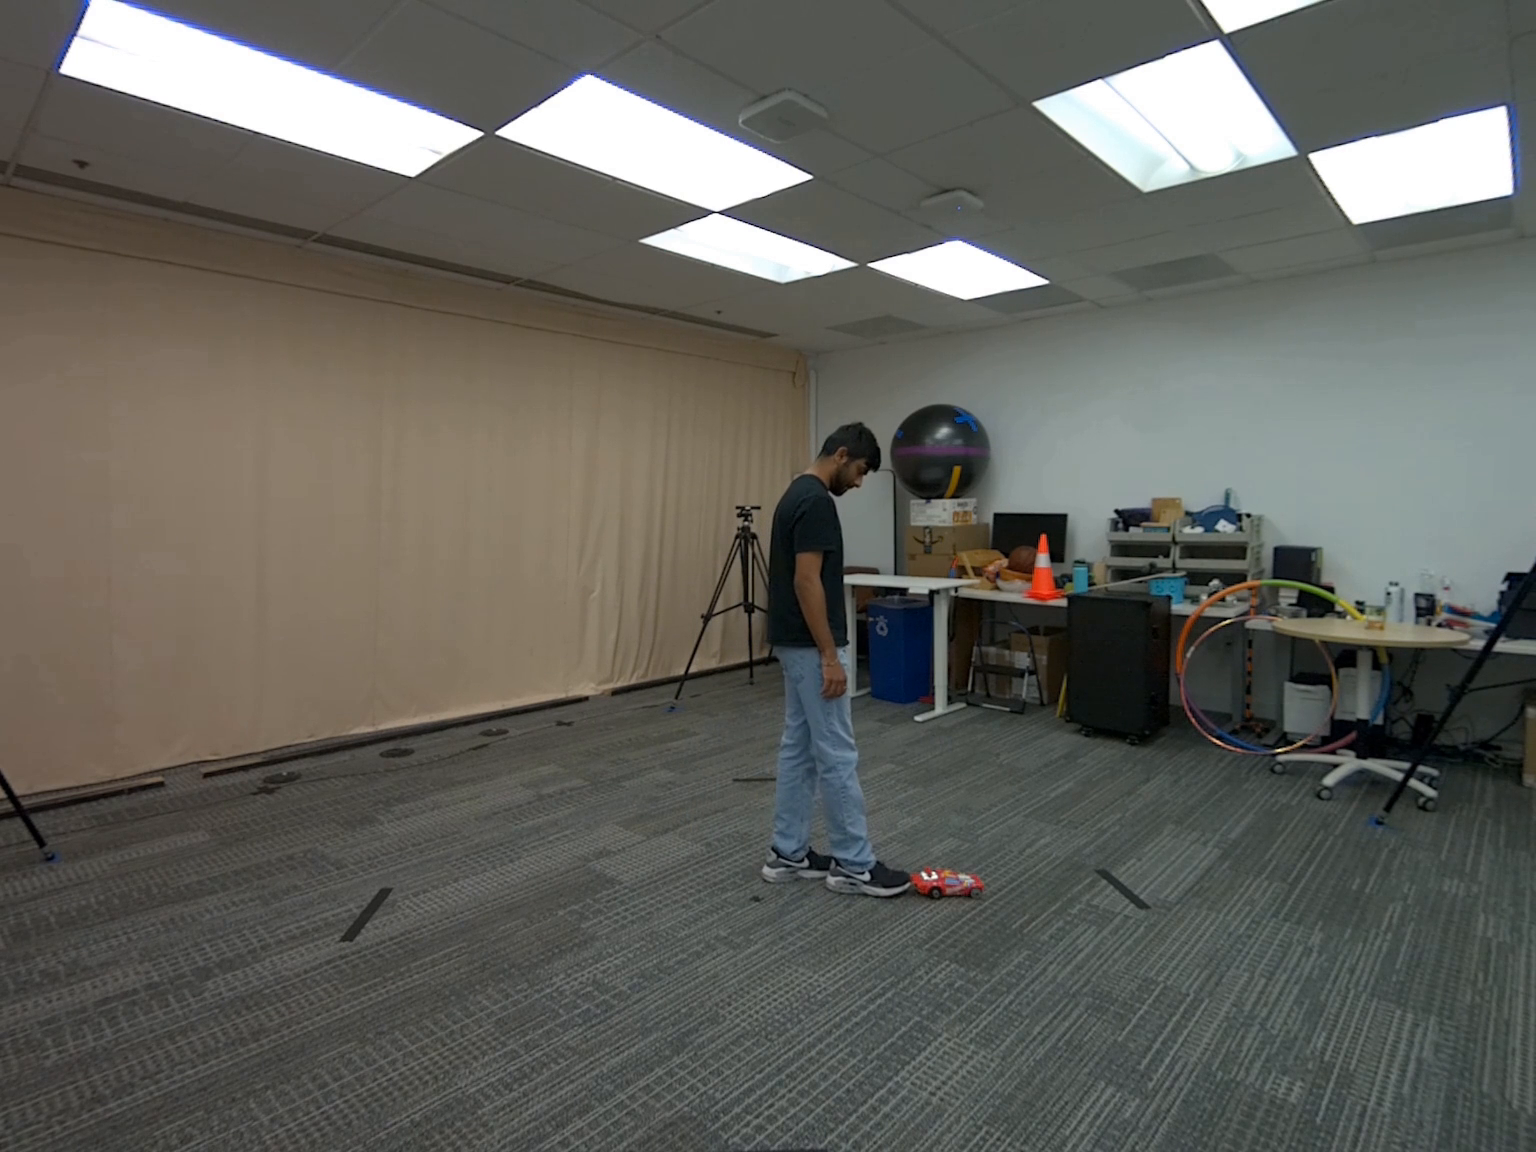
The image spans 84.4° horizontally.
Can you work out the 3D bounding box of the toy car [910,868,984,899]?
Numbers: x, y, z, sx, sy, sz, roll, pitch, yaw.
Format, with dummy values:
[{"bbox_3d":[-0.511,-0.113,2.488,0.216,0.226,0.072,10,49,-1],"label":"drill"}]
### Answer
[{"bbox_3d":[0.636,1.108,3.016,0.254,0.083,0.131,11,3,-2],"label":"toy car"}]
